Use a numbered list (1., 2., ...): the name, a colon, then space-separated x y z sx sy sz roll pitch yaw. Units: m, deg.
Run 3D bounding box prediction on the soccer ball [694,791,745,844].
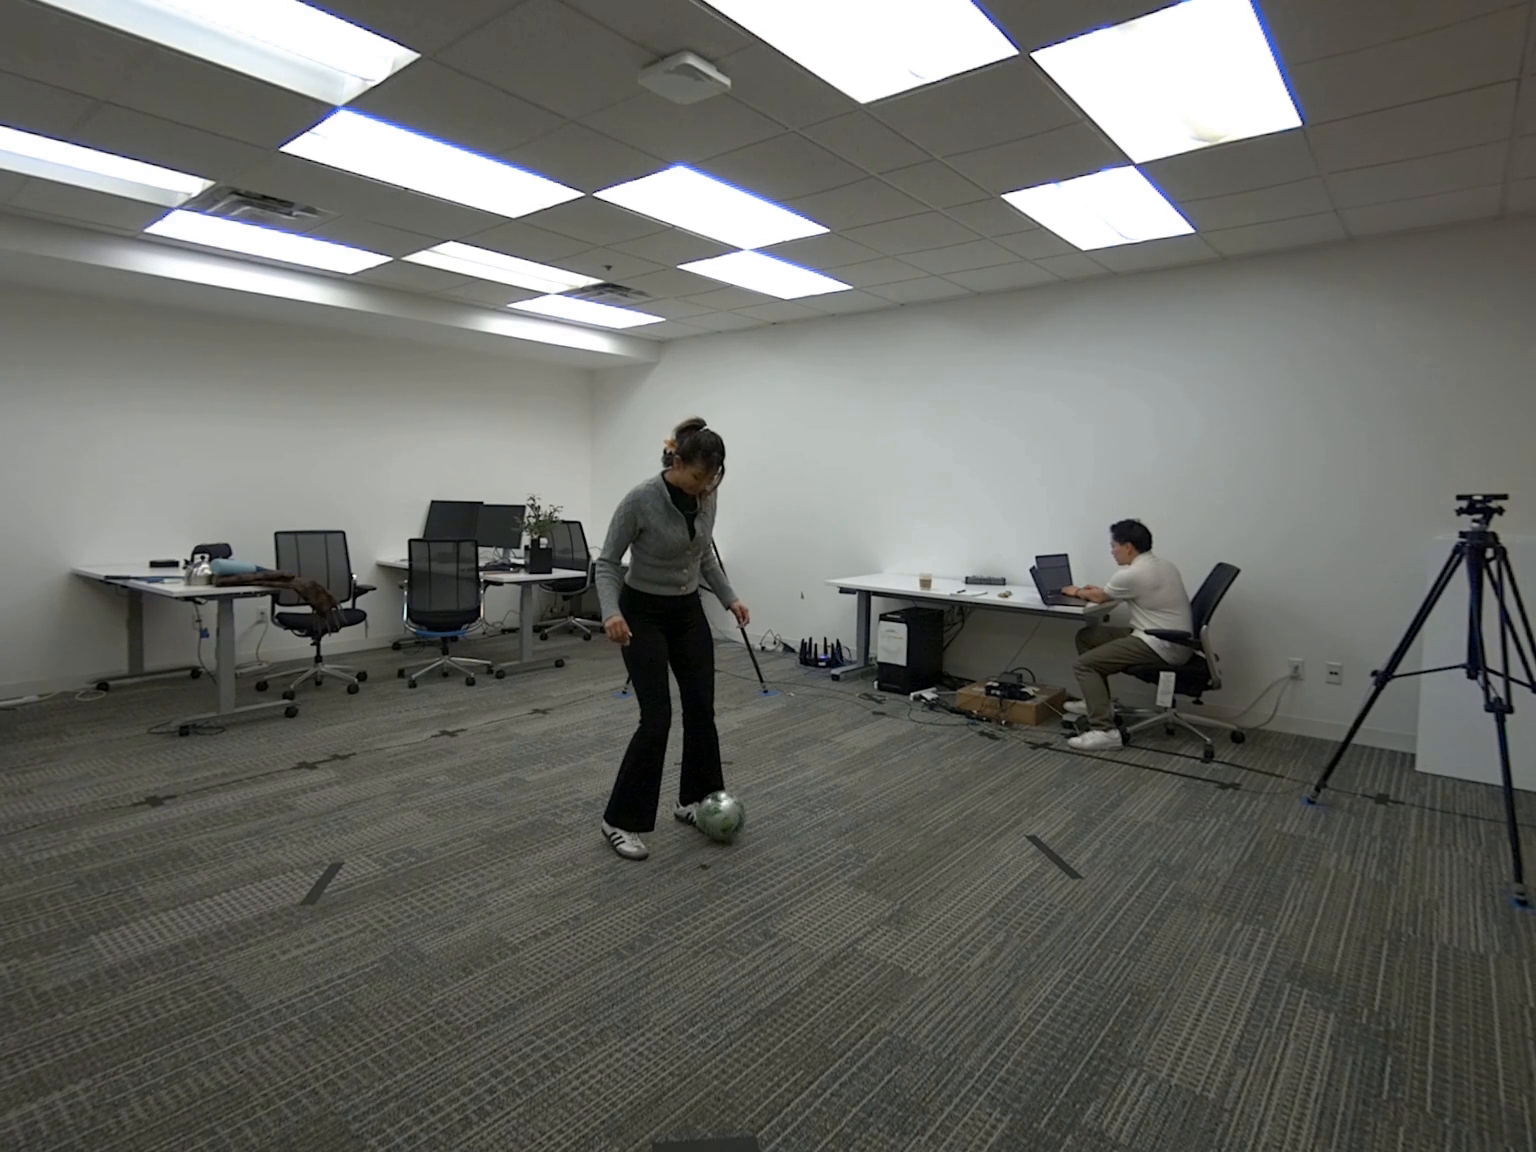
1. soccer ball: -0.192 0.948 3.331 0.187 0.187 0.188 1 4 -2
